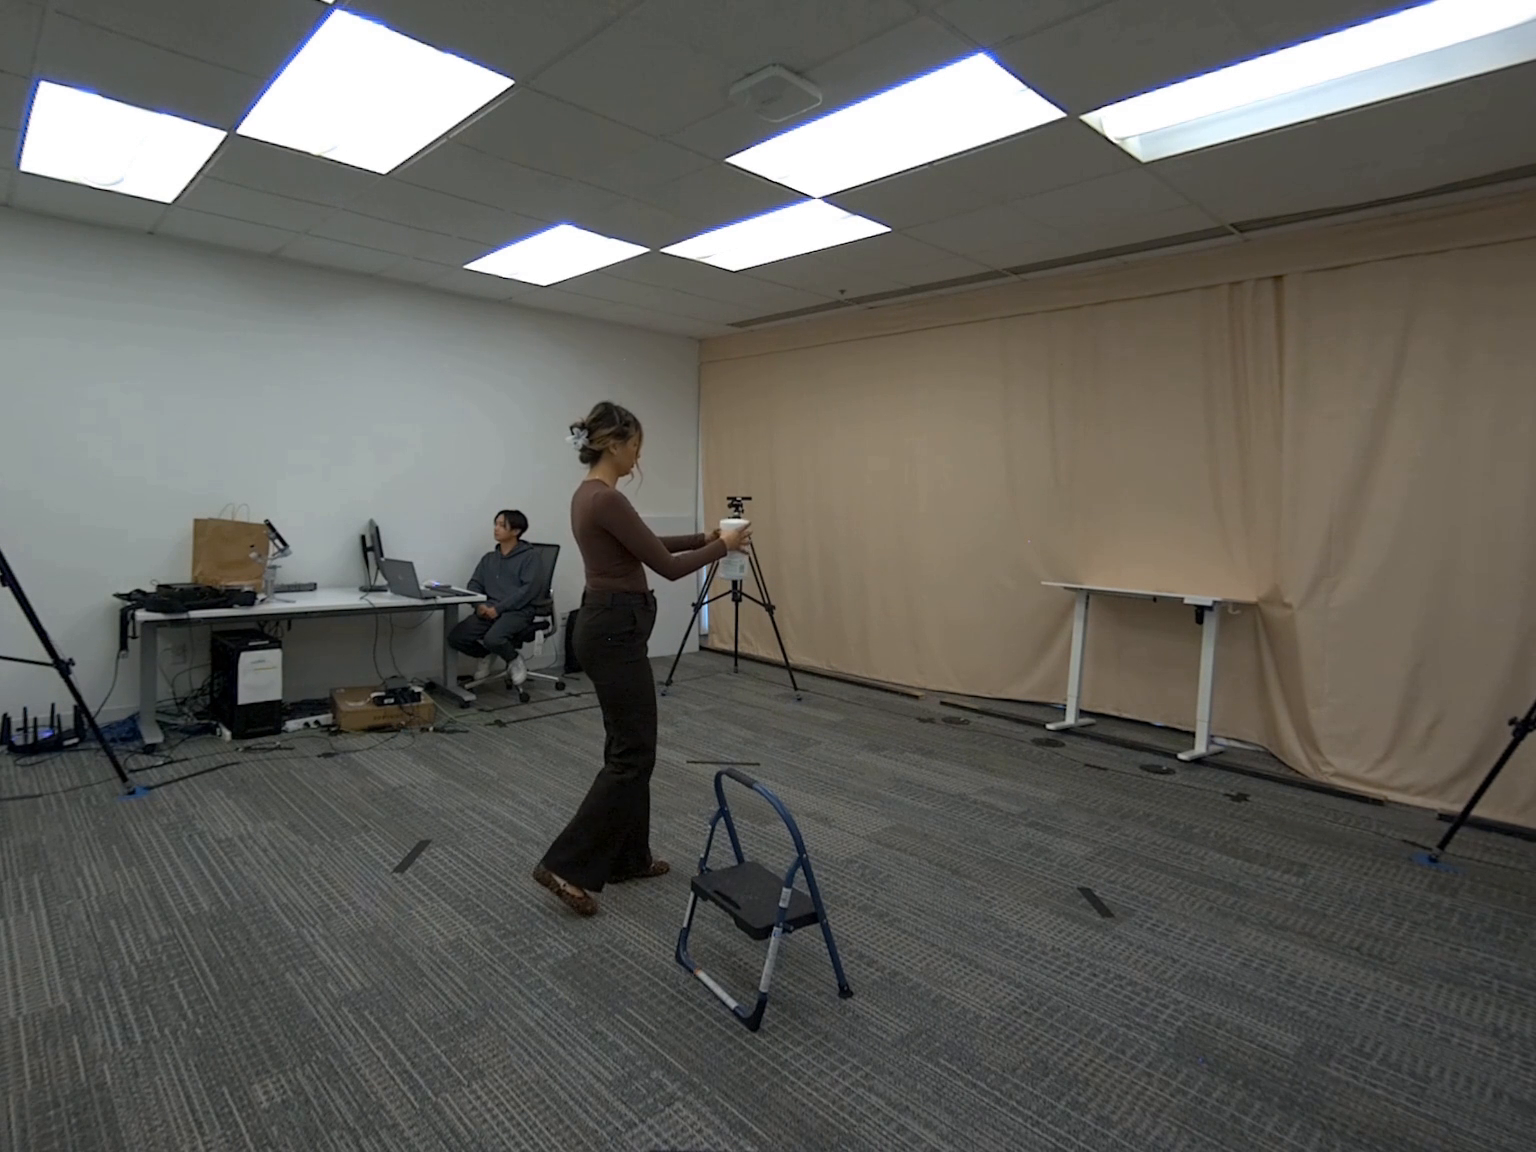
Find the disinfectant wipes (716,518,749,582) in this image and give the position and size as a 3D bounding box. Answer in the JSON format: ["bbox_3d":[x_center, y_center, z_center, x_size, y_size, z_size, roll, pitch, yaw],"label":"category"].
[{"bbox_3d":[-0.142,-0.099,3.093,0.118,0.216,0.119,2,10,-2],"label":"disinfectant wipes"}]
